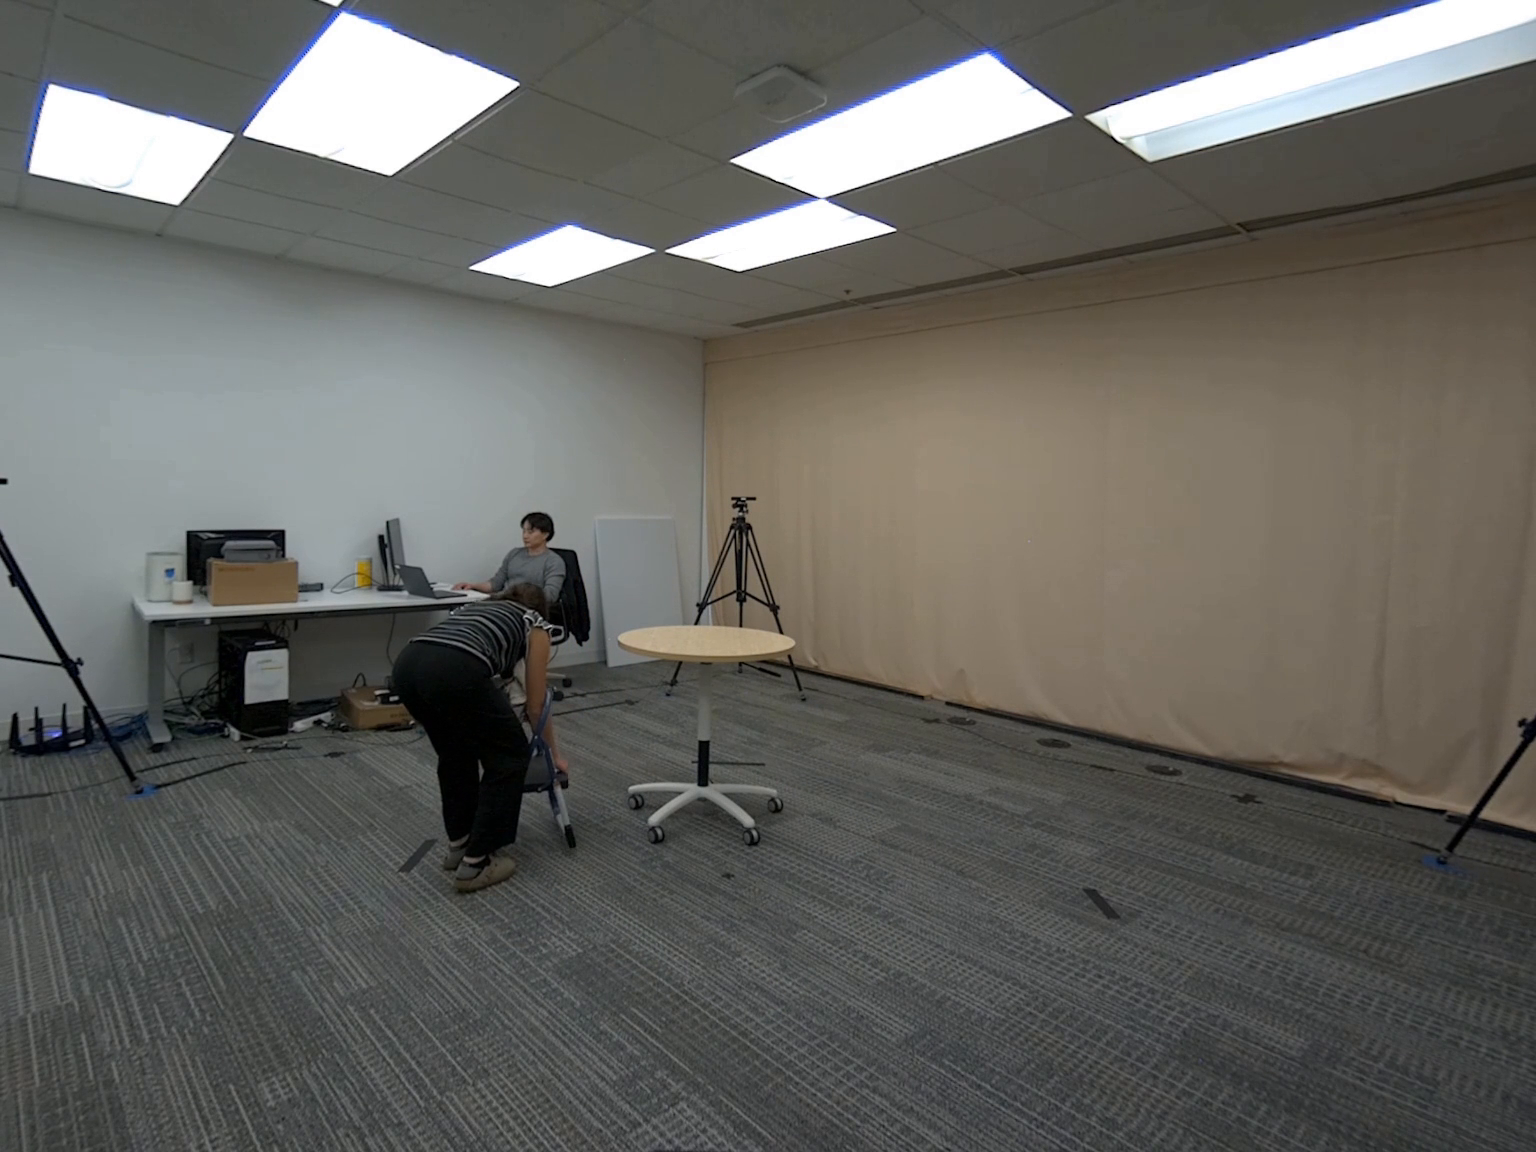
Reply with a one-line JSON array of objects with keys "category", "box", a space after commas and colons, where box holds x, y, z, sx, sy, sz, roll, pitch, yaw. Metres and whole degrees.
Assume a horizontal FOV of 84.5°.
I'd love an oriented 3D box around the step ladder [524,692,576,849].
[{"category": "step ladder", "box": [-0.972, 0.730, 3.365, 0.343, 0.605, 0.438, 0, 2, -23]}]
